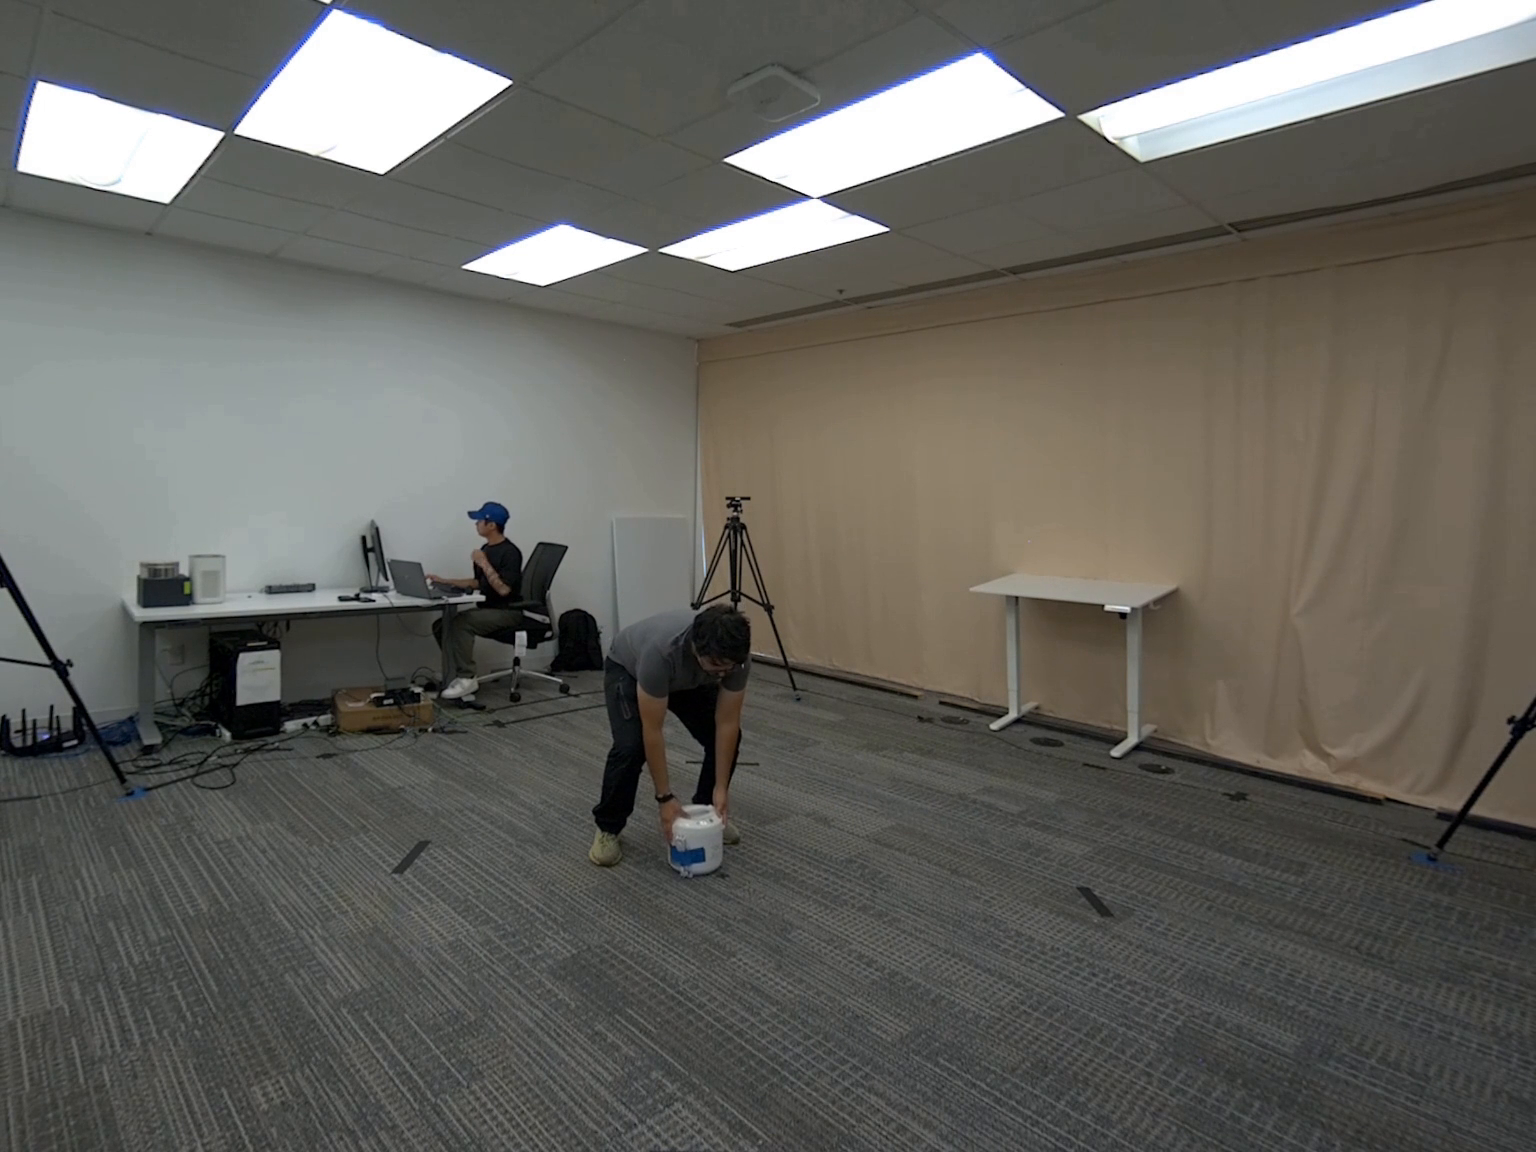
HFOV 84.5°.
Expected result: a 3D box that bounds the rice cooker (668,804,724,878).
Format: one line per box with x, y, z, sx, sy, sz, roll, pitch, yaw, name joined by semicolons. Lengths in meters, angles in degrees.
-0.281;0.982;3.166;0.217;0.232;0.222;-1;6;-25;rice cooker
